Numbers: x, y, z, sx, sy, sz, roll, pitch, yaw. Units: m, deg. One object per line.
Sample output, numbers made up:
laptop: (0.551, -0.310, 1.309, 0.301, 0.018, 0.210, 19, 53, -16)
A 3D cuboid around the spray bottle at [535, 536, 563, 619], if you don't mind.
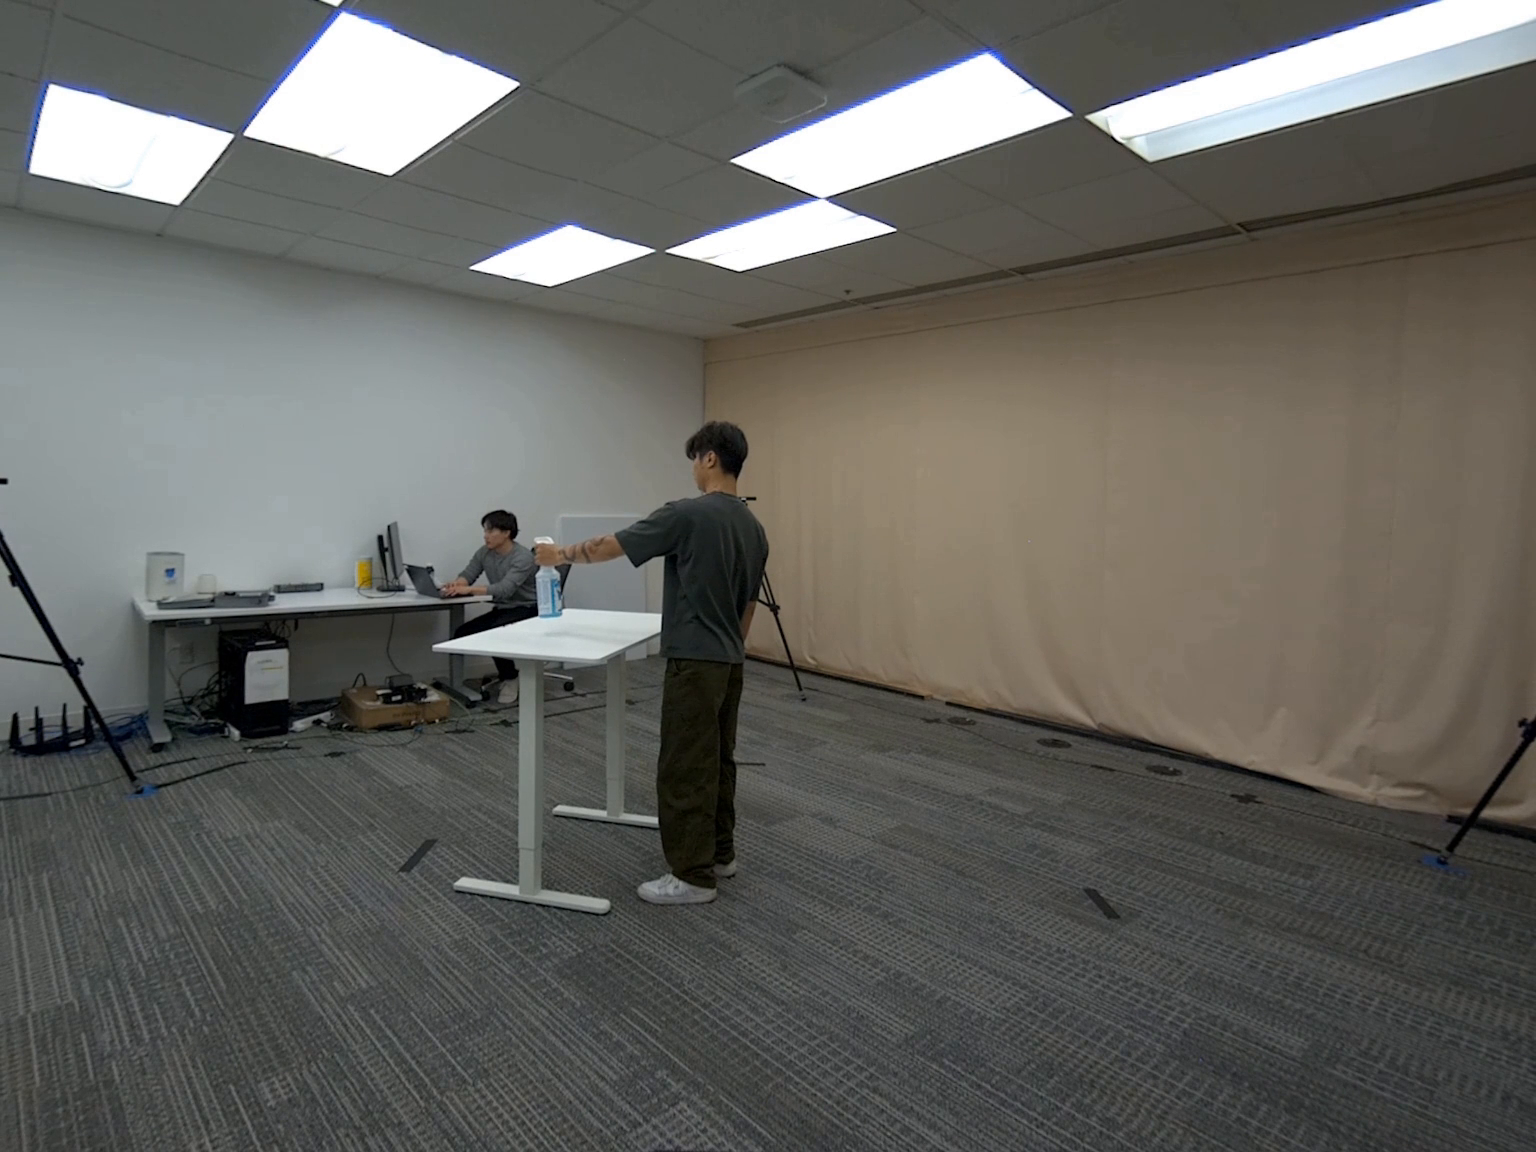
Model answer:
spray bottle: (-0.805, 0.008, 3.080, 0.085, 0.297, 0.092, -6, -1, -34)
